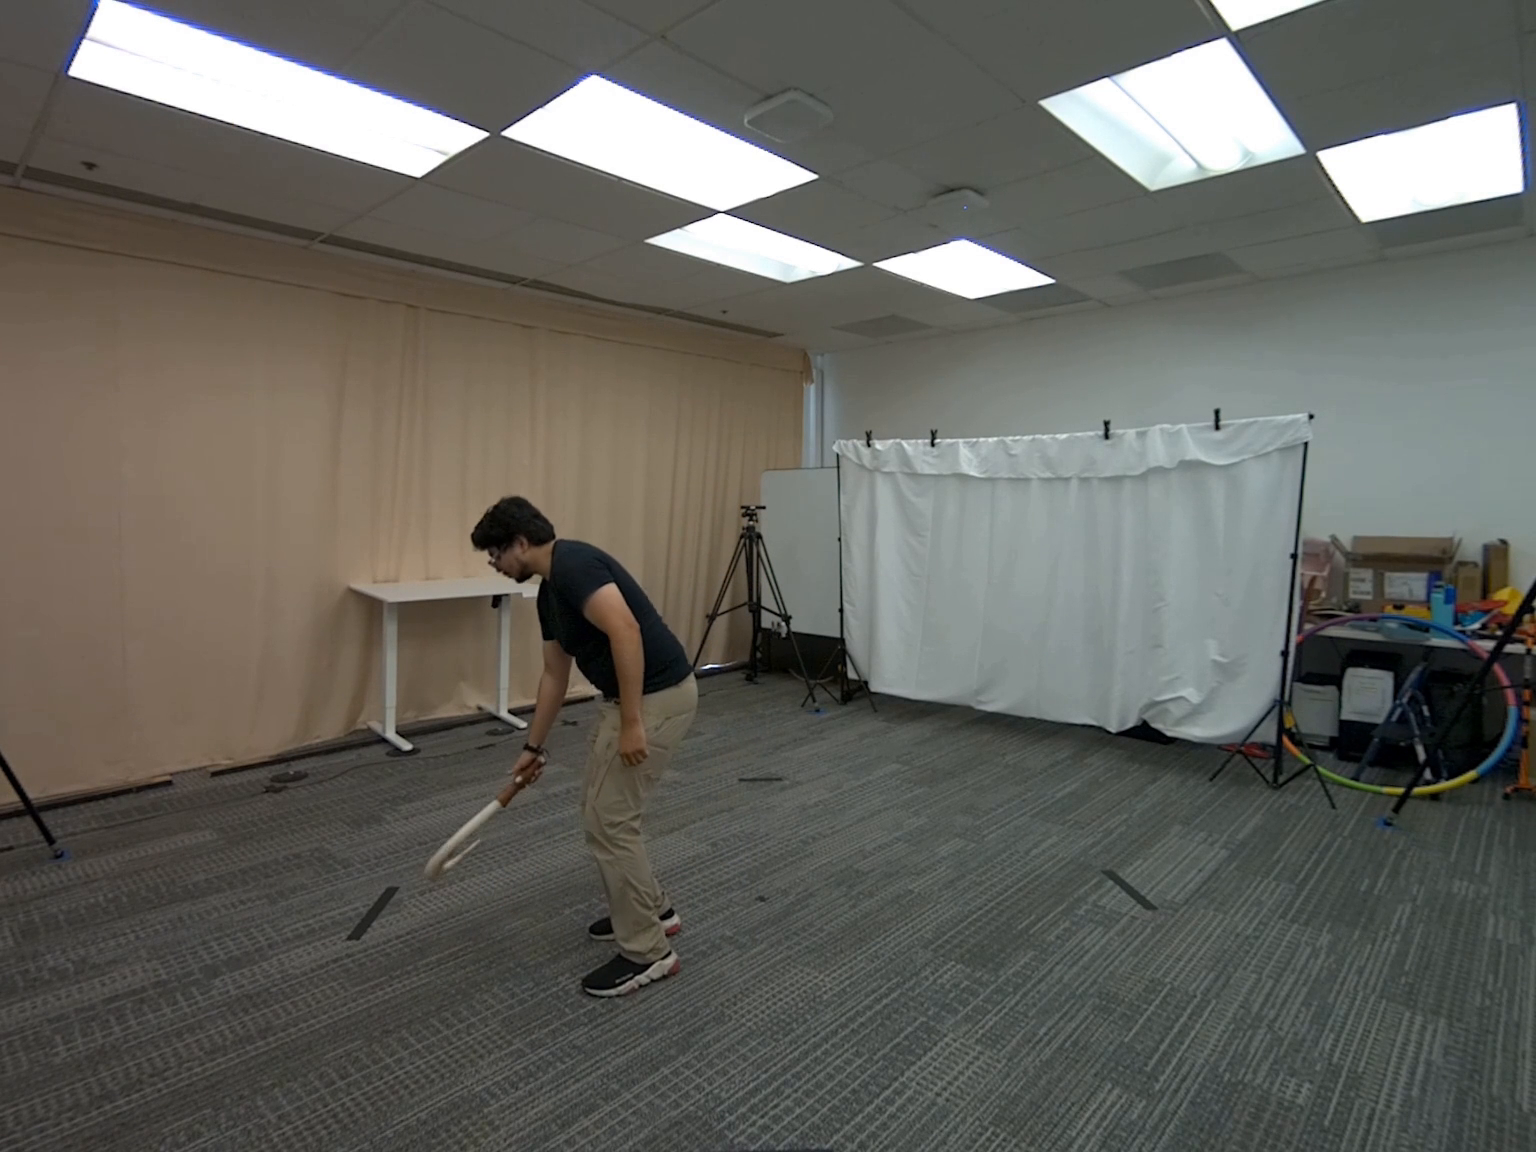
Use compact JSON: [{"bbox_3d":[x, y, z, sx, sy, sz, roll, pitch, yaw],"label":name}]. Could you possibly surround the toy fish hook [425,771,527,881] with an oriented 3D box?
[{"bbox_3d":[-0.915,0.798,2.755,0.502,0.049,0.224,-45,-8,-27],"label":"toy fish hook"}]
